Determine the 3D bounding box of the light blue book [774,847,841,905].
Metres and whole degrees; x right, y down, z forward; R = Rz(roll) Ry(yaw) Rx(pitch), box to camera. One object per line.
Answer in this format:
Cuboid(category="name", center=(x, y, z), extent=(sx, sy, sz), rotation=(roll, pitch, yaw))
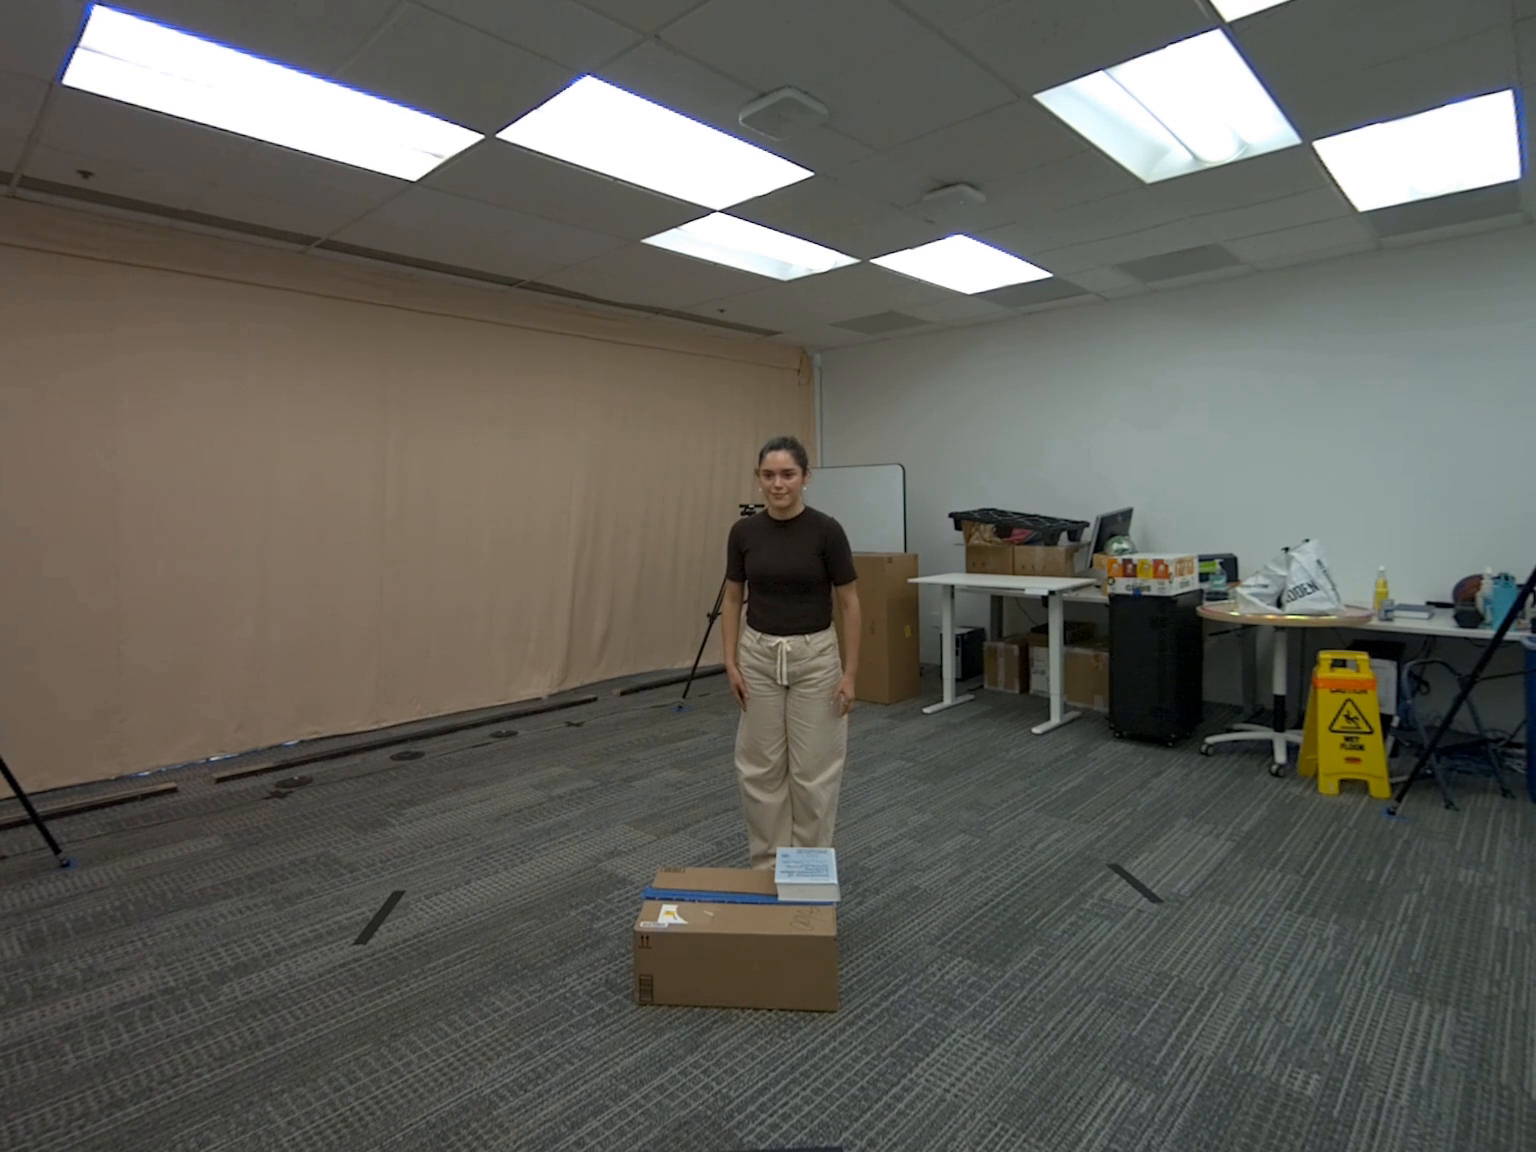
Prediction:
Cuboid(category="light blue book", center=(0.117, 0.917, 2.621), extent=(0.192, 0.059, 0.260), rotation=(-2, 4, 3))
